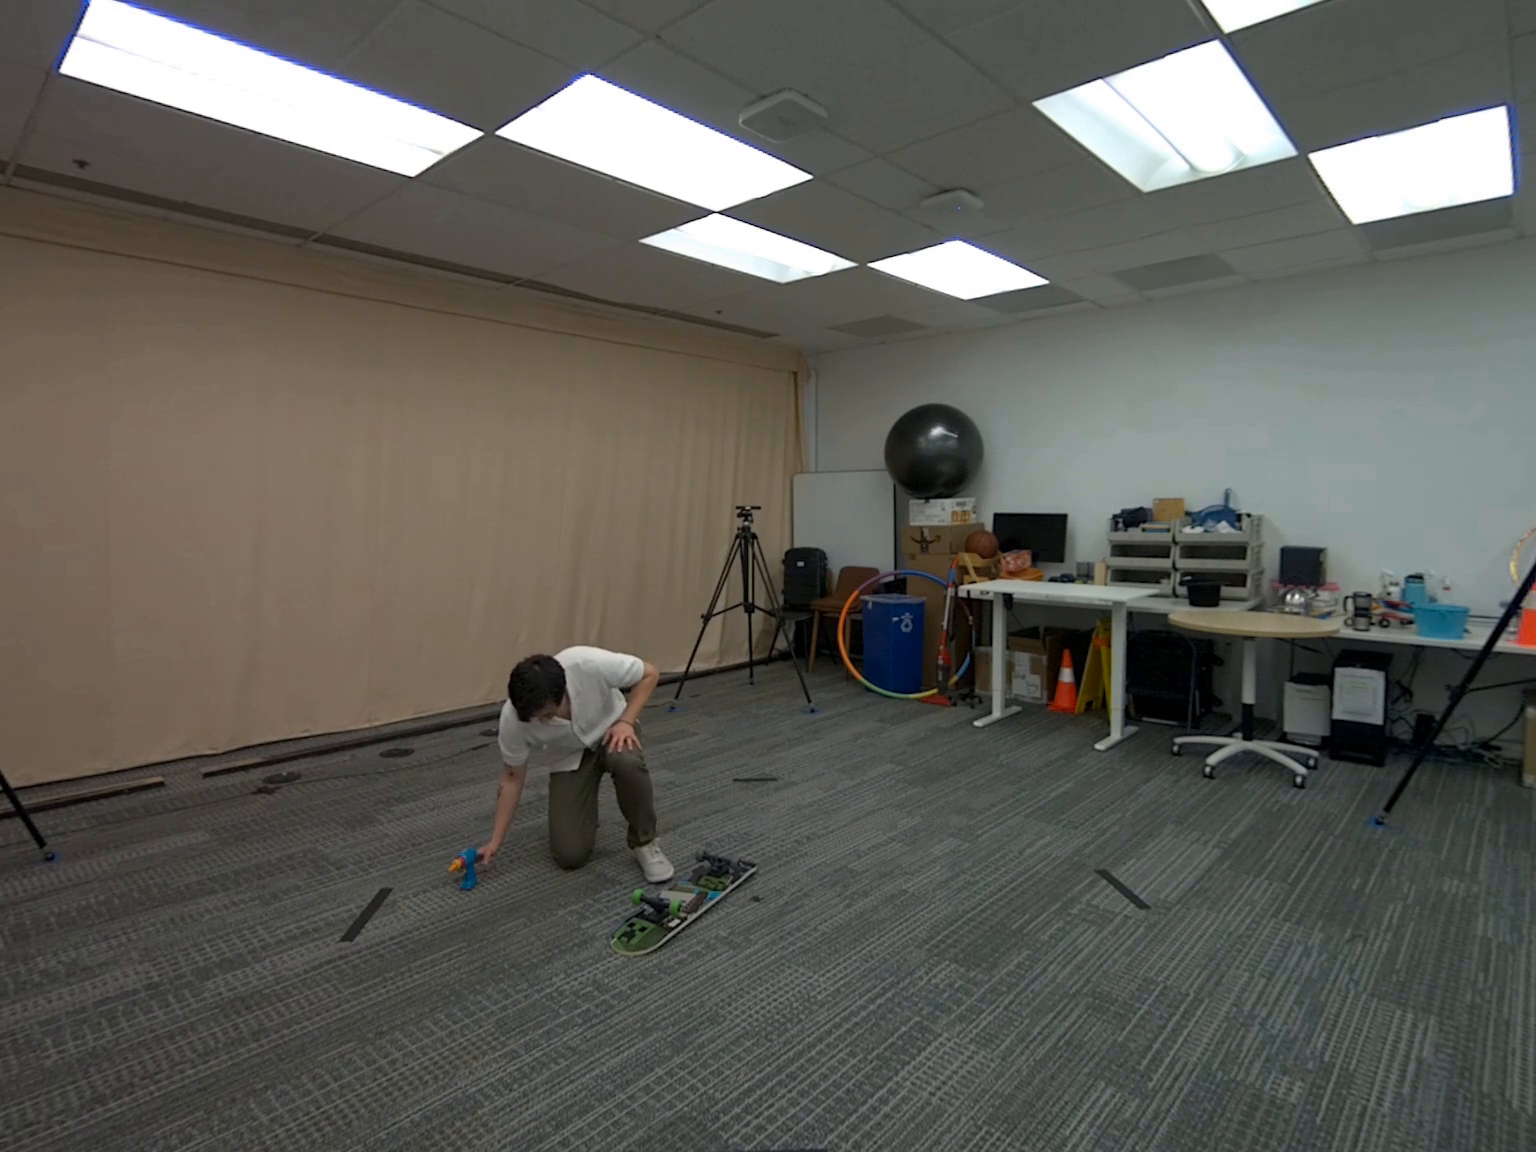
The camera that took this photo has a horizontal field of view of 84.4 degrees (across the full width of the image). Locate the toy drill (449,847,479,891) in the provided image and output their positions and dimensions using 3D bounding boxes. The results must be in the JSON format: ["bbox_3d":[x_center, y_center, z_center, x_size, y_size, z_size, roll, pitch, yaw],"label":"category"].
[{"bbox_3d":[-1.106,1.070,3.062,0.062,0.145,0.169,-1,5,7],"label":"toy drill"}]
